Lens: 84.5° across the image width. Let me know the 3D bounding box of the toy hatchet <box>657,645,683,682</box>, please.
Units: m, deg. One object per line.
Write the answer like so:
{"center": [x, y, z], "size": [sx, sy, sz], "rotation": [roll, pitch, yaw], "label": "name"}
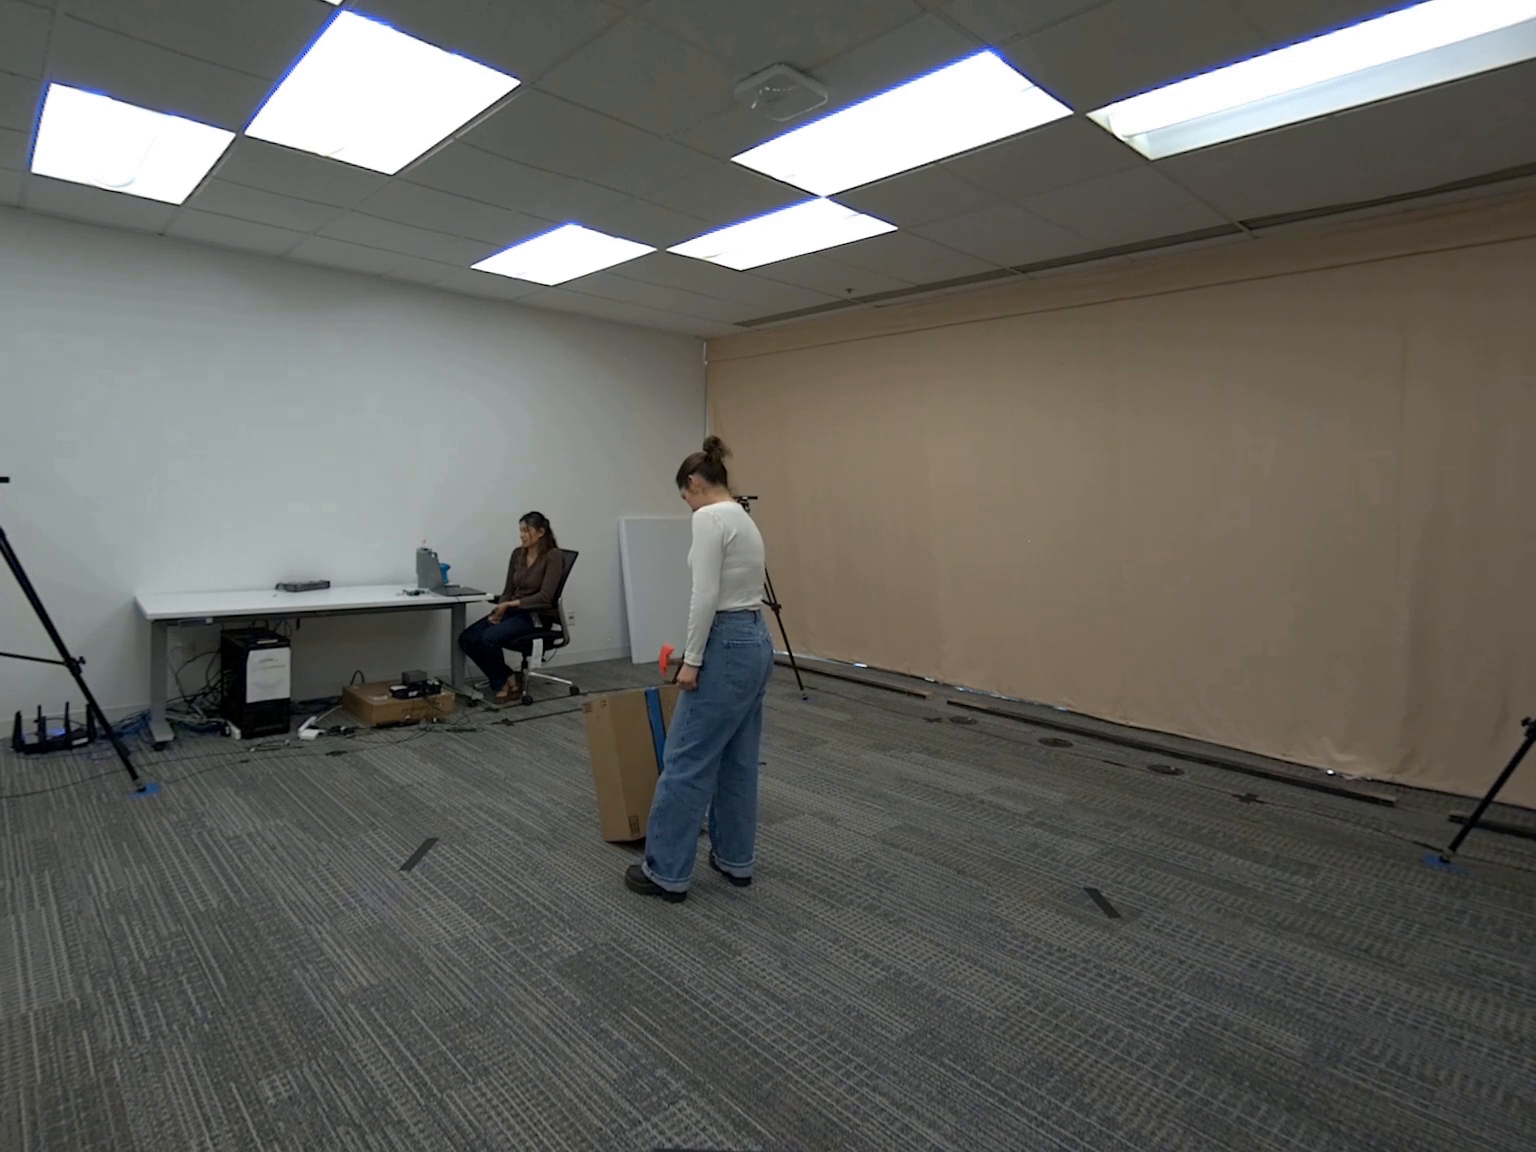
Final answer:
{"center": [-0.364, 0.326, 3.473], "size": [0.273, 0.133, 0.029], "rotation": [-26, -16, 33], "label": "toy hatchet"}
